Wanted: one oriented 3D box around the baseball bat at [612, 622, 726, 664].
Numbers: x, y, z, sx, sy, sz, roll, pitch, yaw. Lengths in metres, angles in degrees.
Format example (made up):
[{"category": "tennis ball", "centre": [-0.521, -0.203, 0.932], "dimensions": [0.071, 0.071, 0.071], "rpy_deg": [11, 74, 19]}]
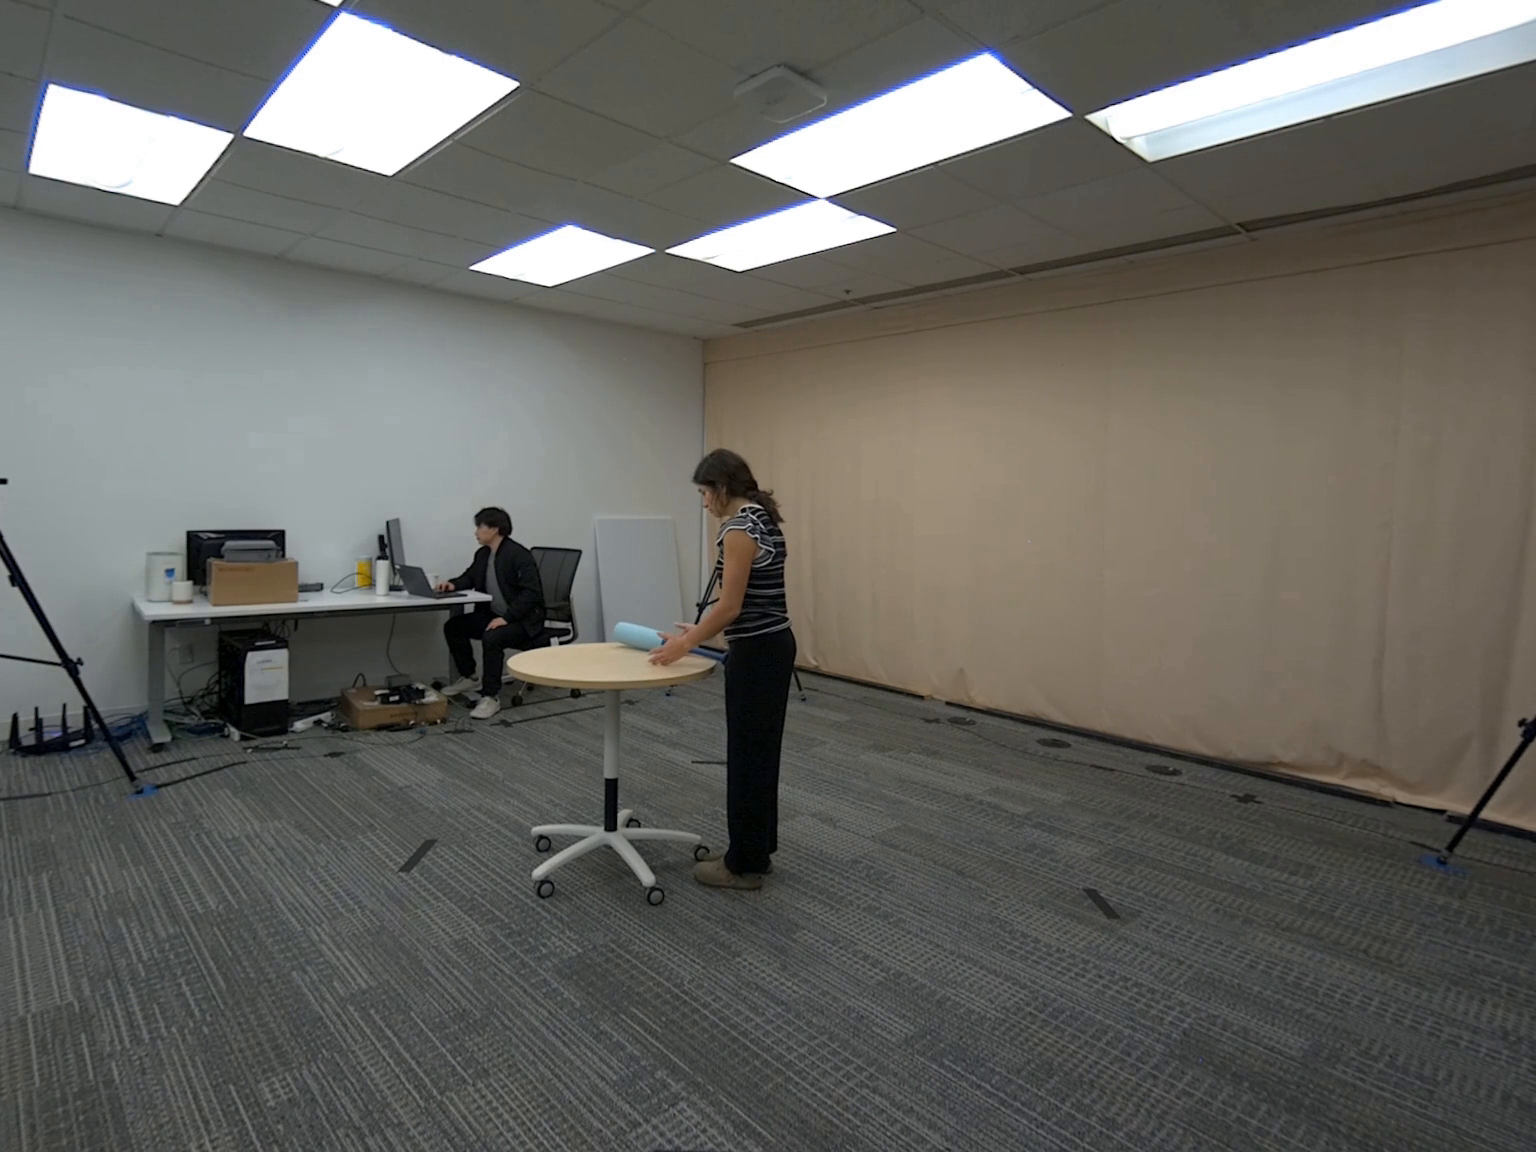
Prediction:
[{"category": "baseball bat", "centre": [-0.381, 0.267, 3.262], "dimensions": [0.556, 0.089, 0.087], "rpy_deg": [9, 8, 32]}]
